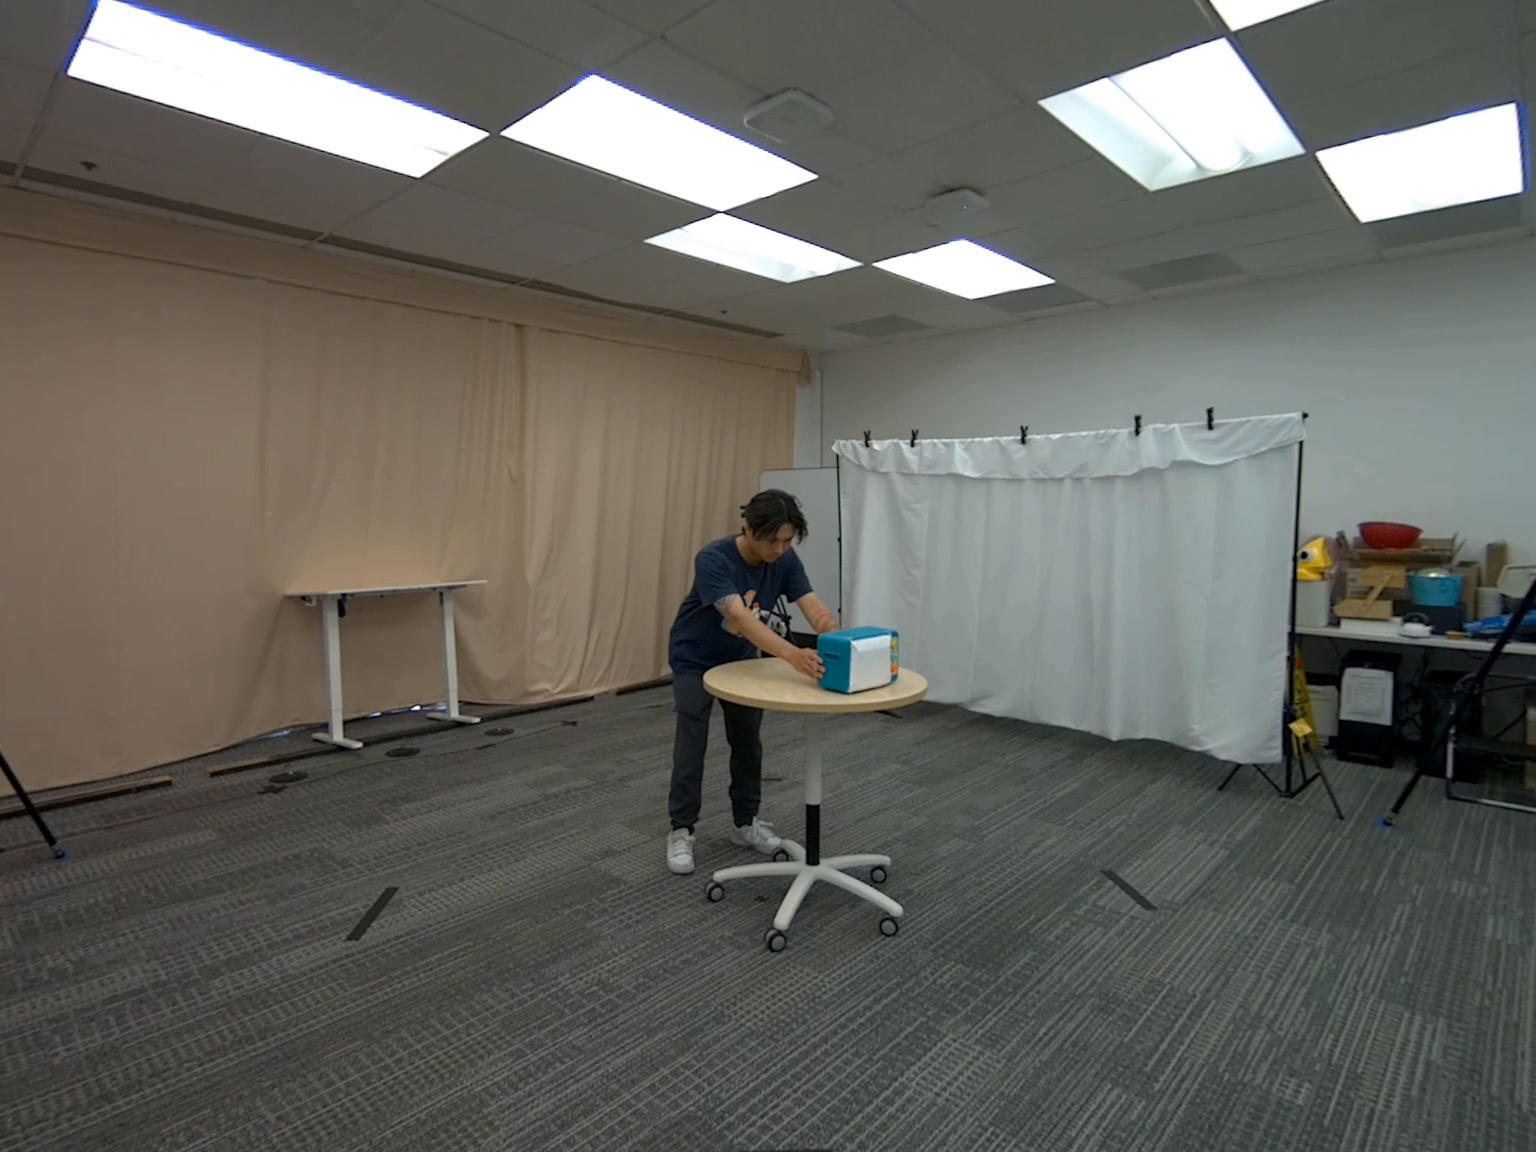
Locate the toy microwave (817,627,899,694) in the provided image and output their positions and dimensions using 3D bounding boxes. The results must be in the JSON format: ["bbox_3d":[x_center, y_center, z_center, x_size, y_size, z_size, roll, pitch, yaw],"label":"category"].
[{"bbox_3d":[0.306,0.274,2.762,0.277,0.184,0.157,-3,5,-42],"label":"toy microwave"}]
